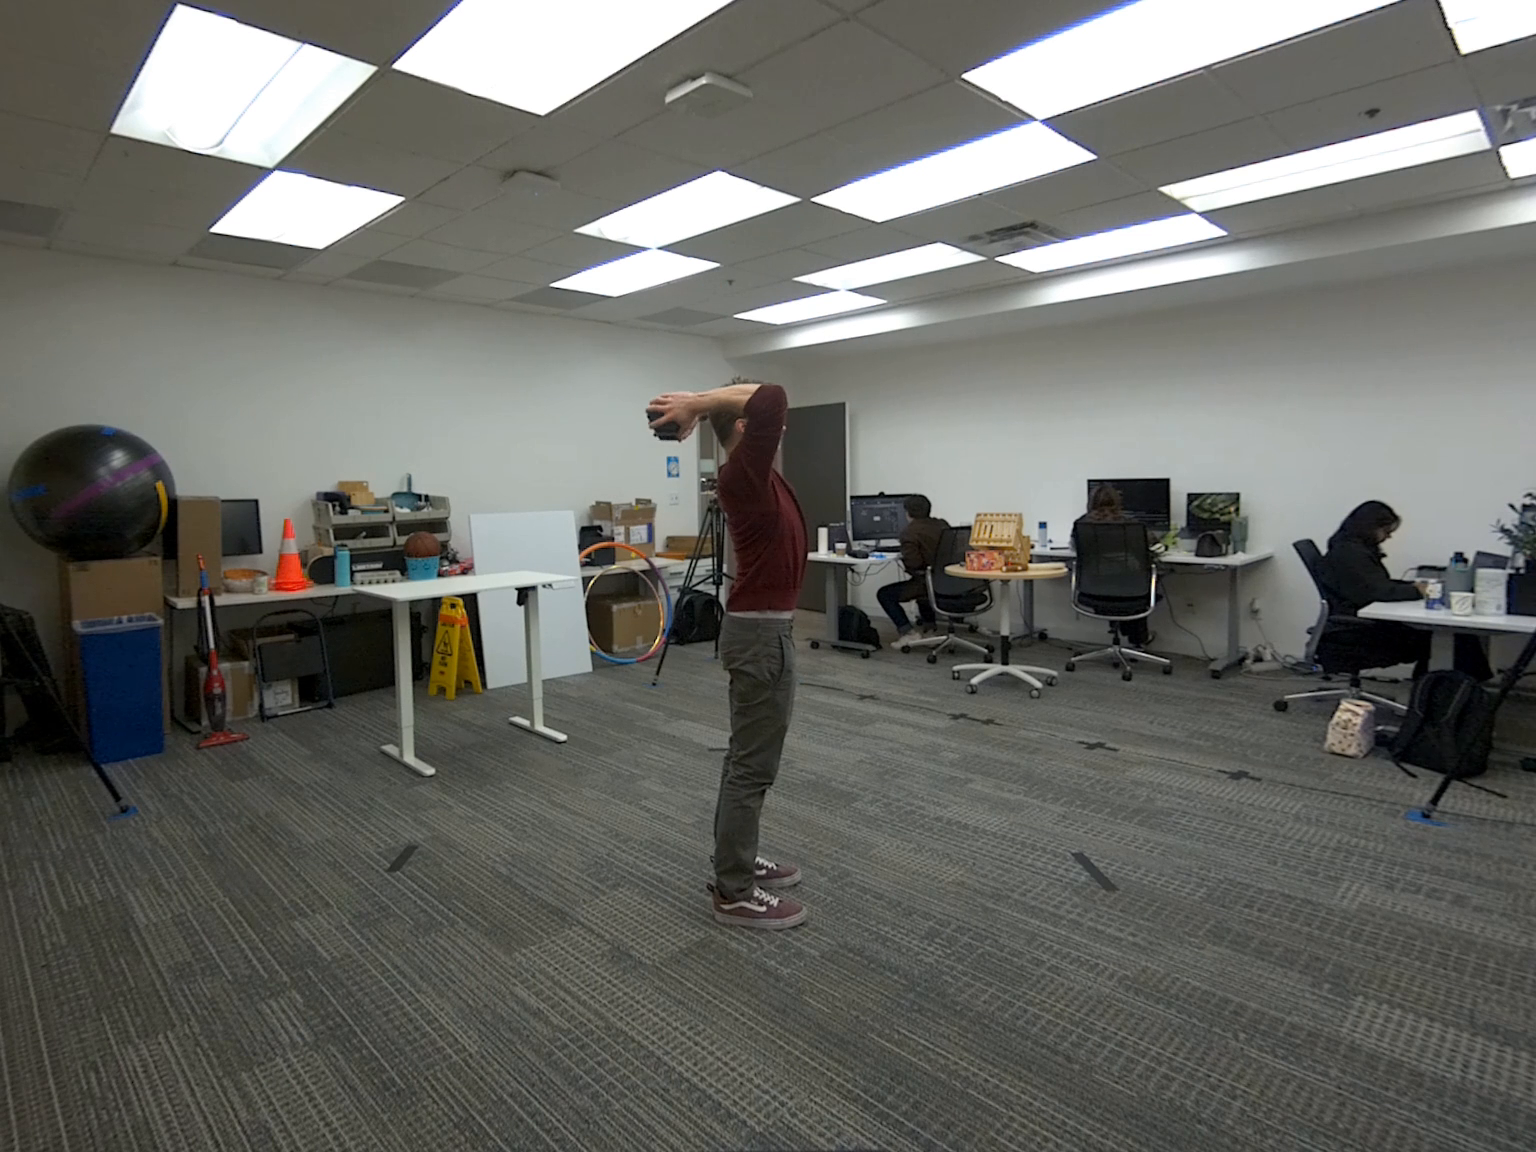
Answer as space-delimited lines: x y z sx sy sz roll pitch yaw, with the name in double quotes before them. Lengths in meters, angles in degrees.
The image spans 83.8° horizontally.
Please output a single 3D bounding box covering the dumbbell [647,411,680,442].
"dumbbell" -0.299 -0.509 2.744 0.109 0.123 0.294 32 4 -1
